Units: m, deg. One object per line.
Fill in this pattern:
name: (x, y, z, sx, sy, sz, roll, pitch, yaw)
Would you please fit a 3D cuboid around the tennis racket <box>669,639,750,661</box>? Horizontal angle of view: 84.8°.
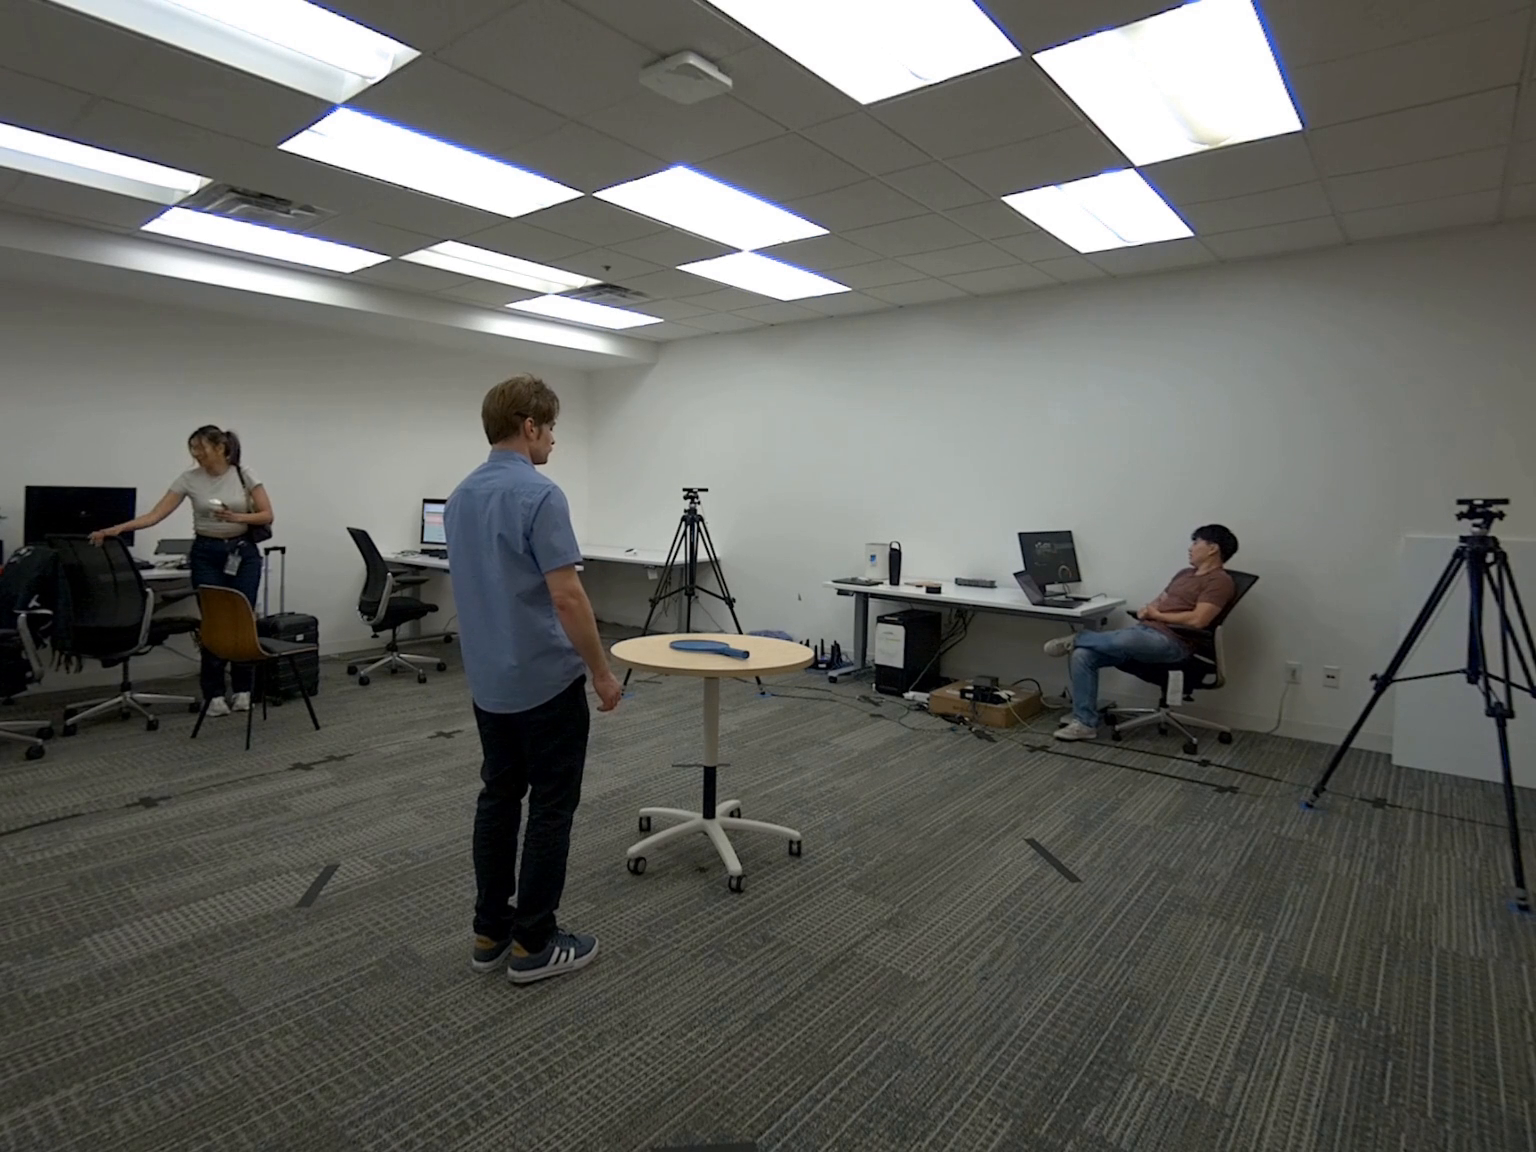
tennis racket: (-0.225, 0.271, 3.189, 0.207, 0.032, 0.447, -2, 4, -37)
